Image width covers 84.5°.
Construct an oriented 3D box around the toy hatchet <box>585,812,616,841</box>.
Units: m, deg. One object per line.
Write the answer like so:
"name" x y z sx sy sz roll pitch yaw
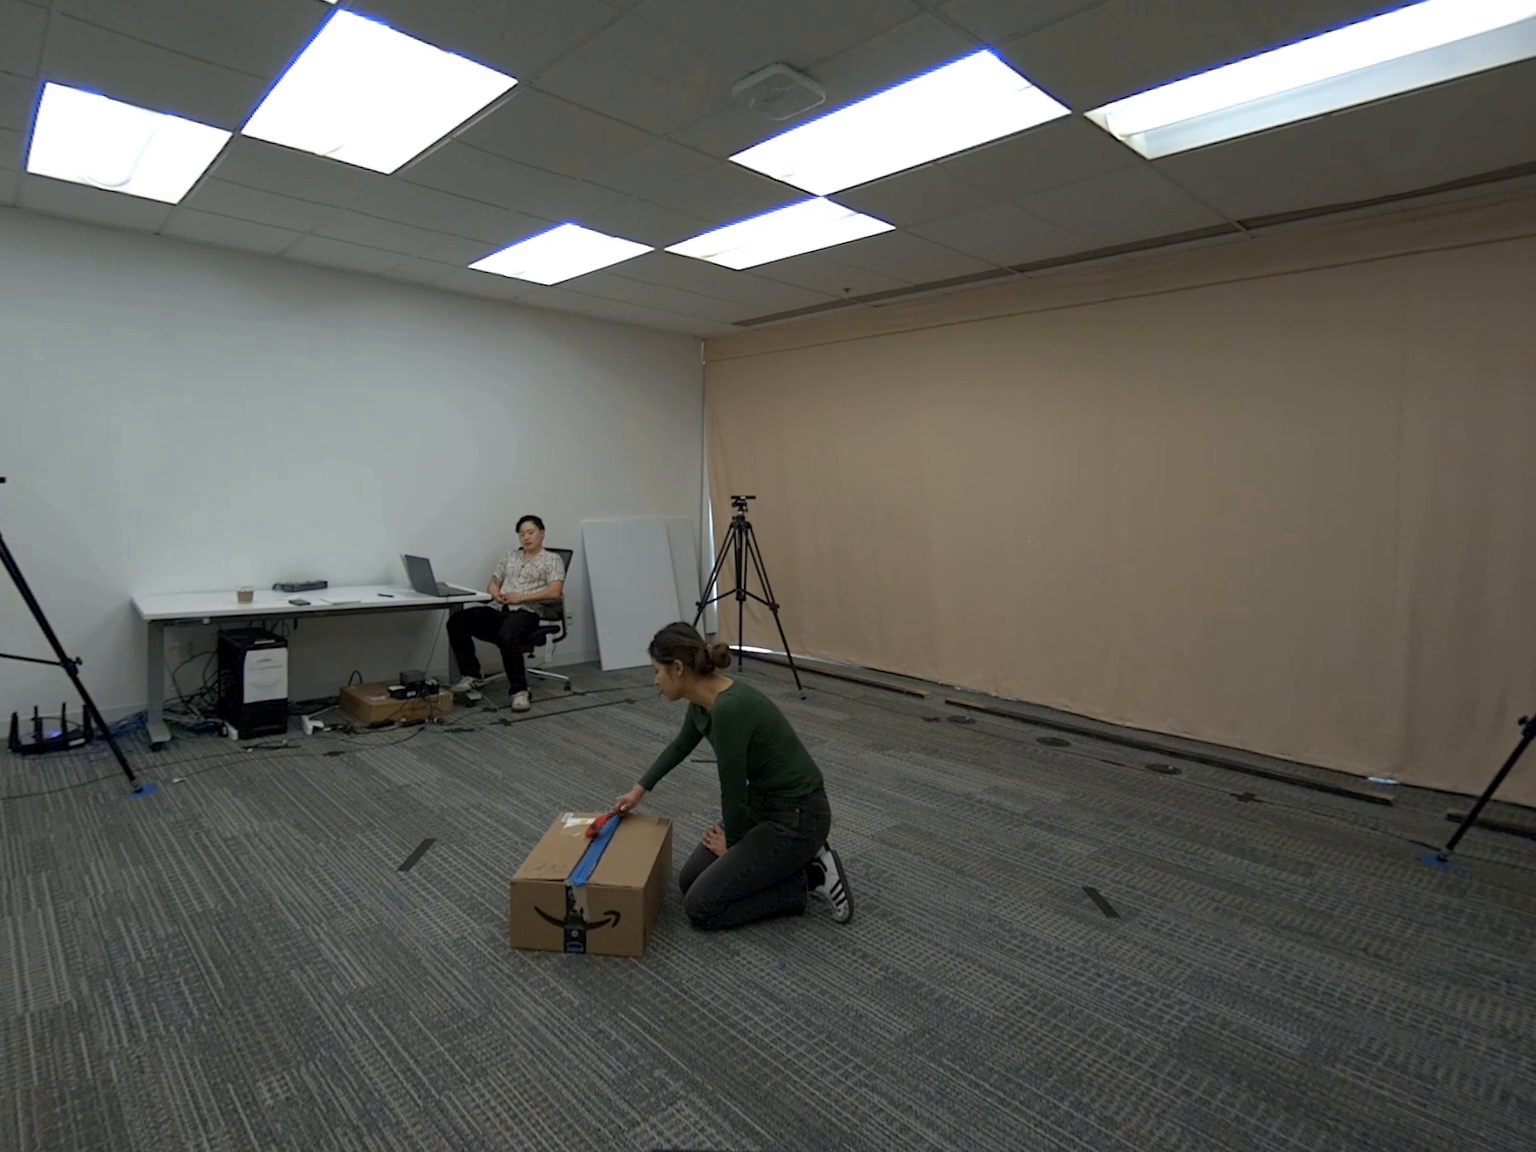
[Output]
"toy hatchet" -0.568 0.856 2.969 0.131 0.030 0.266 -43 -10 5
